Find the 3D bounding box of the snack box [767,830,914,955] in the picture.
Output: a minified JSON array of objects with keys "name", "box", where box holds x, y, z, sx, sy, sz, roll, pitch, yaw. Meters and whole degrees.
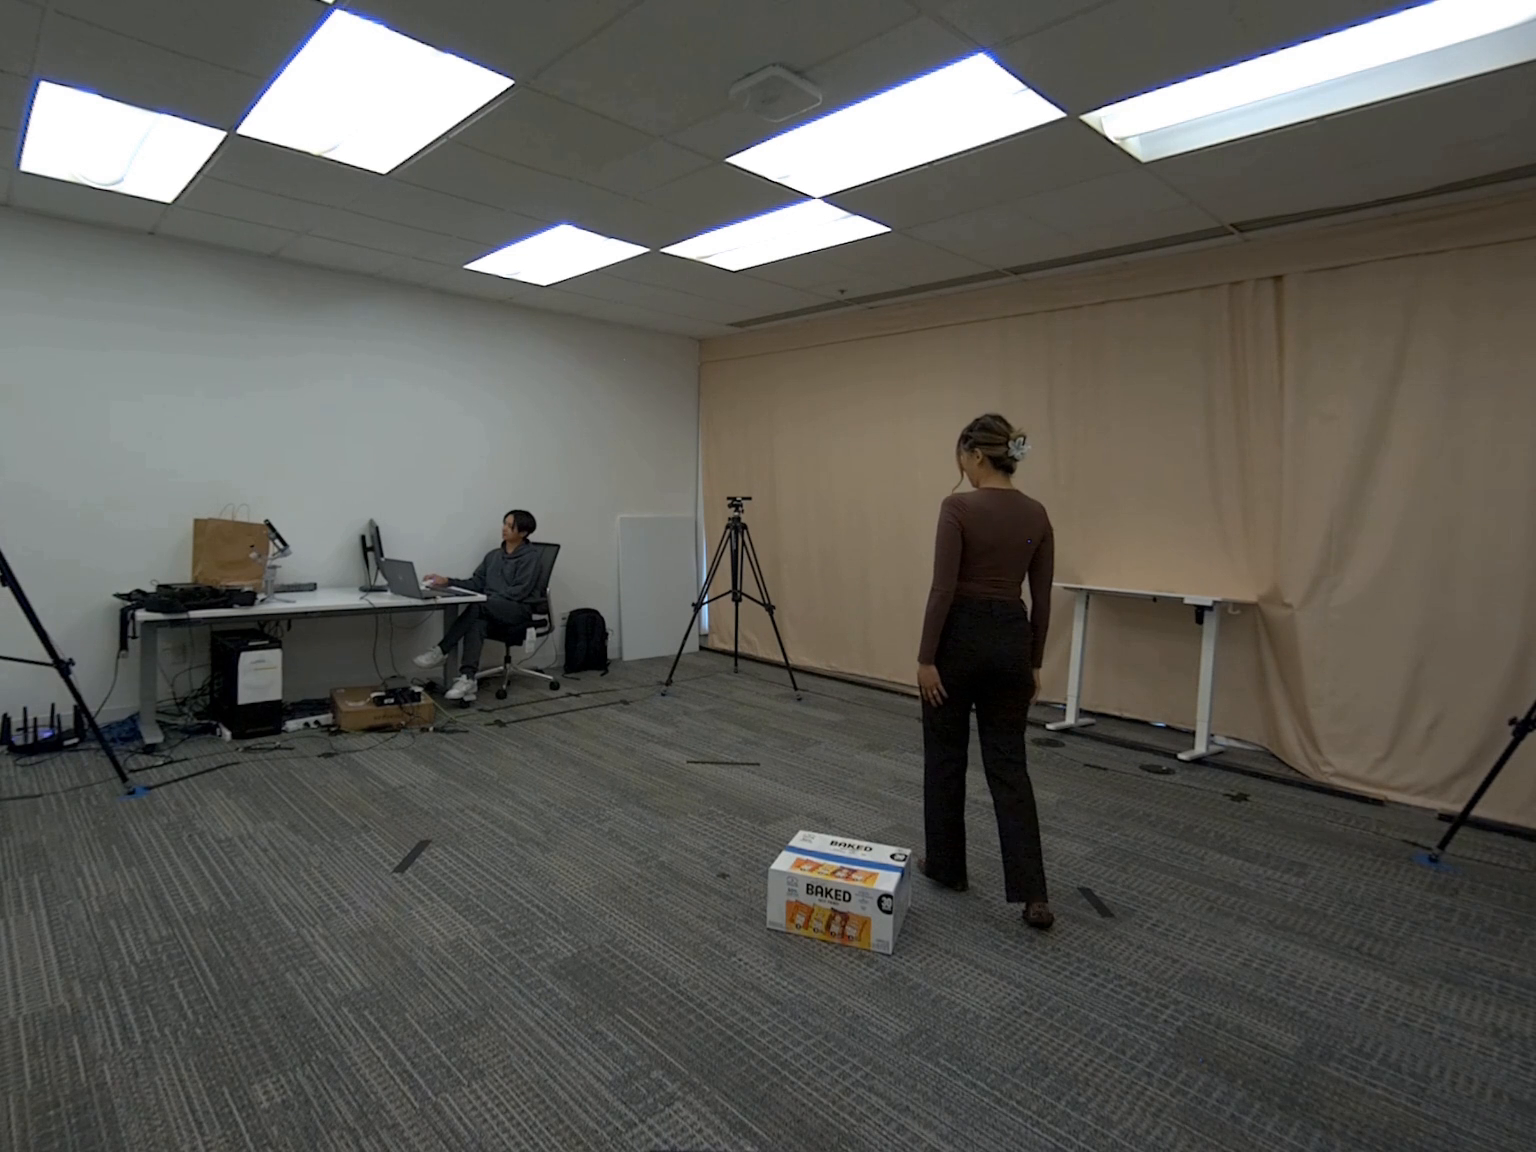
[{"name":"snack box","box":[0.240,1.041,2.800,0.412,0.205,0.336,3,5,20]}]
